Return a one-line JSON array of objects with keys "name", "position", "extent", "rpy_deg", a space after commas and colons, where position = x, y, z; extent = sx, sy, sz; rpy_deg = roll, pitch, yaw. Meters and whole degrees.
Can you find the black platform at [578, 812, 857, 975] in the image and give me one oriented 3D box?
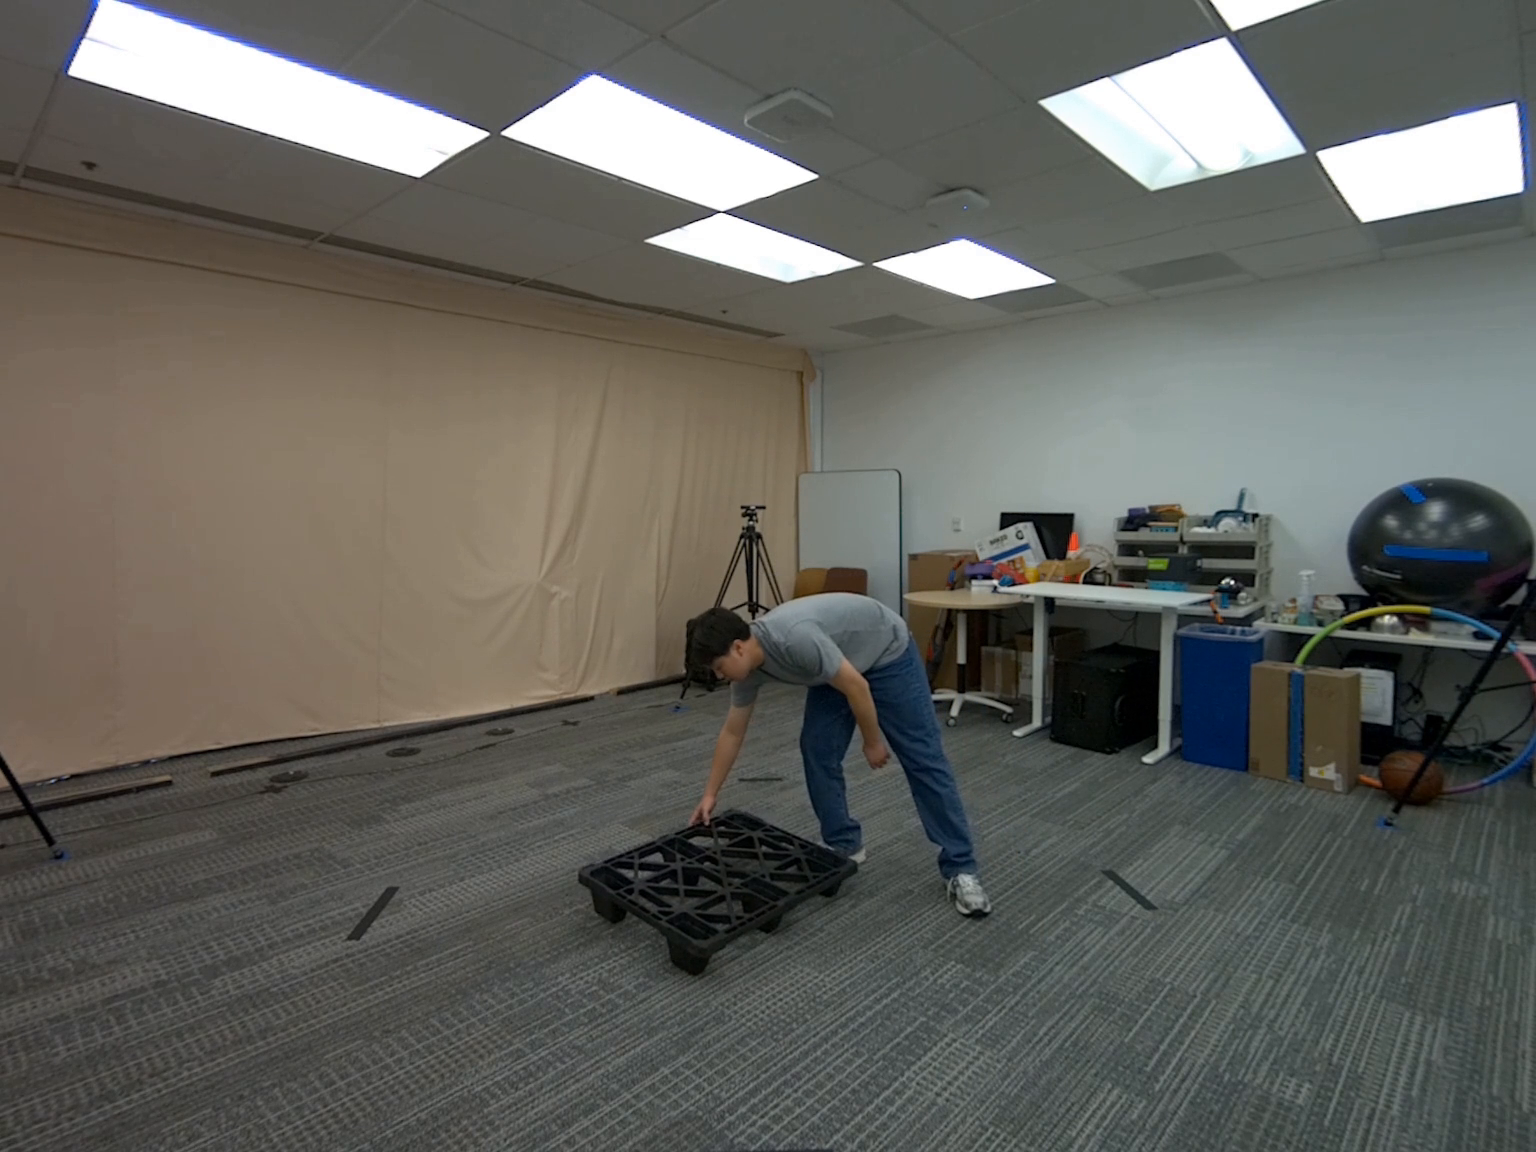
[{"name": "black platform", "position": [-0.172, 1.069, 2.908], "extent": [0.626, 0.143, 0.781], "rpy_deg": [9, 9, 41]}]
